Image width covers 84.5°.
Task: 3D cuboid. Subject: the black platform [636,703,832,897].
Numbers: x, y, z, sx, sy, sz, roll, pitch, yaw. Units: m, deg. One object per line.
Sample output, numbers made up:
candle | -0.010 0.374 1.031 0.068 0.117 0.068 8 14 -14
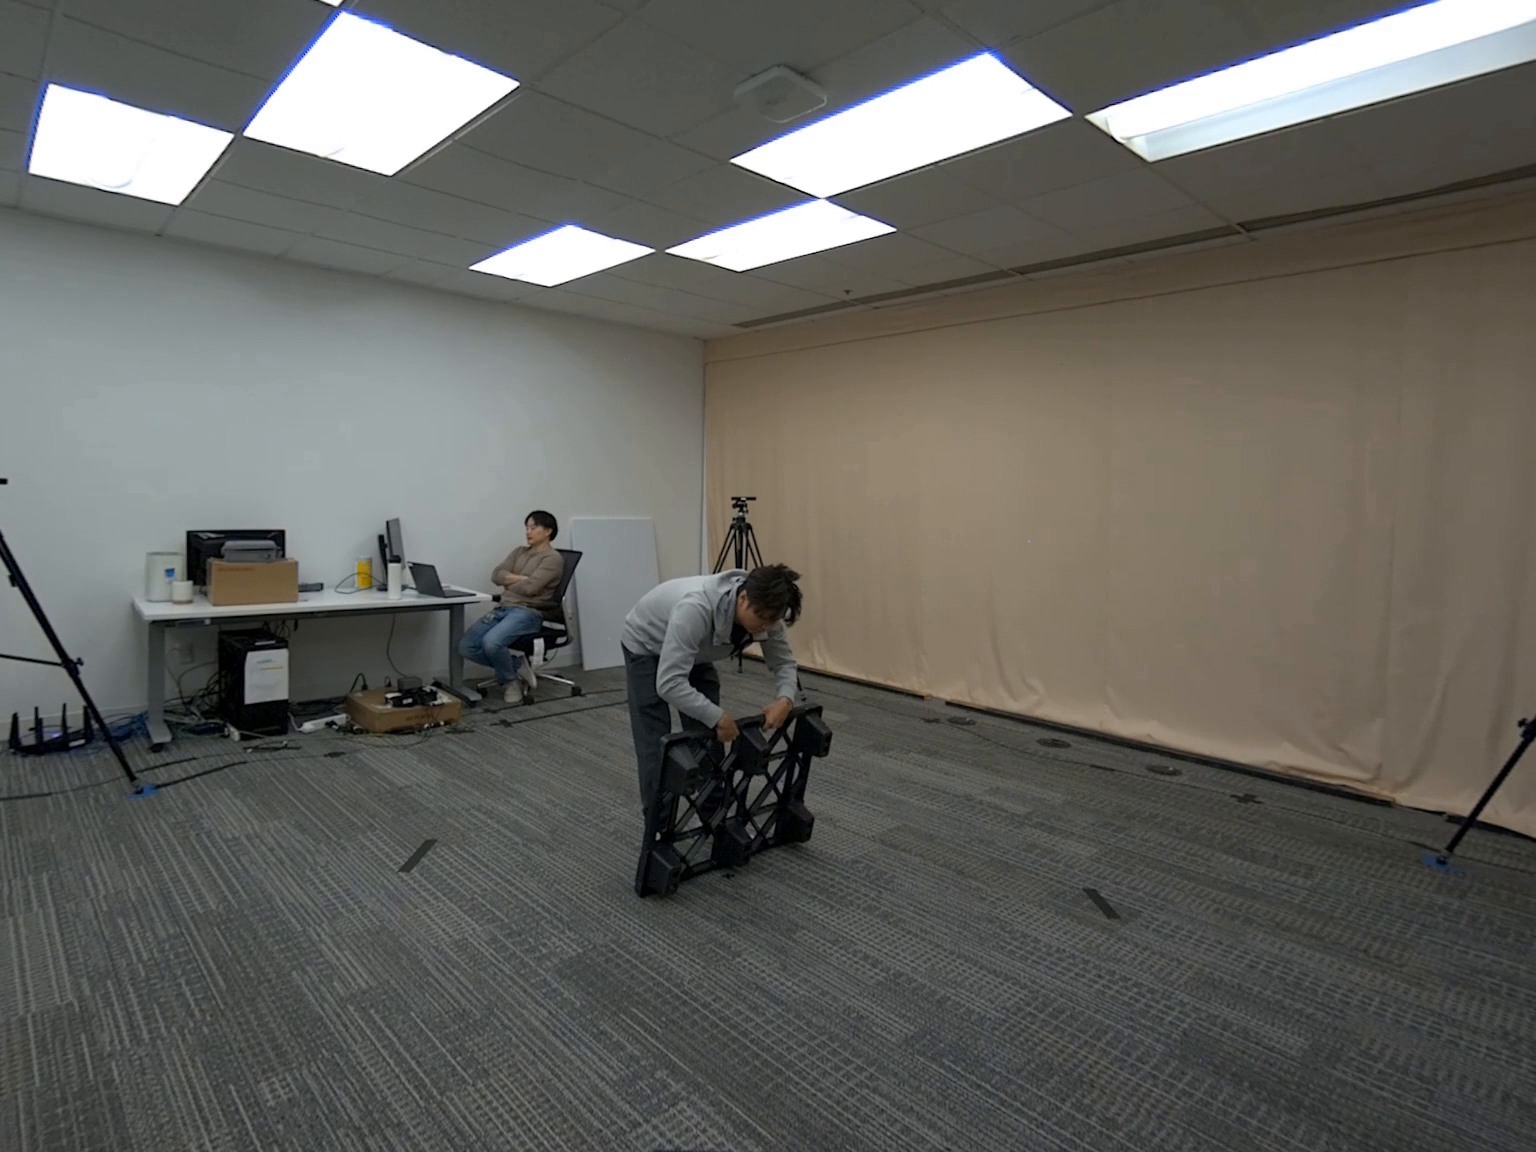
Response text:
black platform | -0.098 0.824 3.093 0.787 0.600 0.148 -3 17 -44
